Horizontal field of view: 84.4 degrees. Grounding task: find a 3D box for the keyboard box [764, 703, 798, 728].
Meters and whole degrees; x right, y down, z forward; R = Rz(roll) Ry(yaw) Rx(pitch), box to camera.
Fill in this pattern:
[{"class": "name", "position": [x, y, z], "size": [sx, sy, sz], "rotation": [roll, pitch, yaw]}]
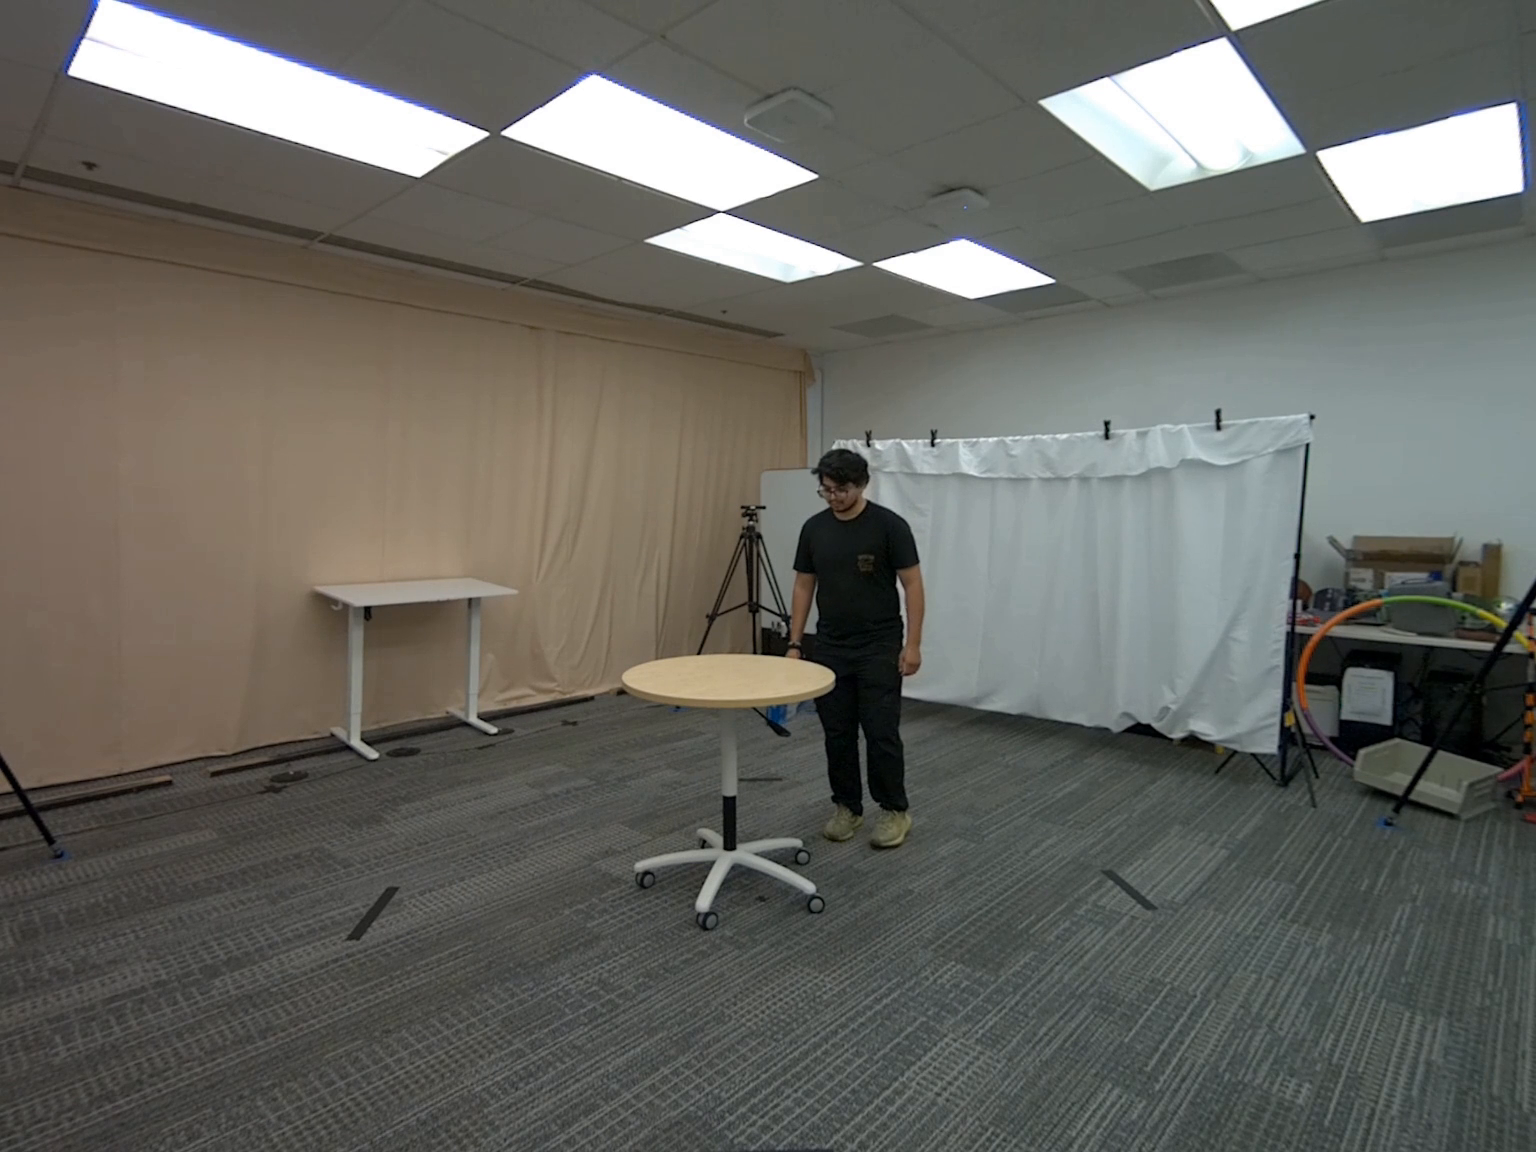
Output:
[{"class": "keyboard box", "position": [0.117, 0.516, 3.684], "size": [0.061, 0.175, 0.427], "rotation": [7, 10, 24]}]
